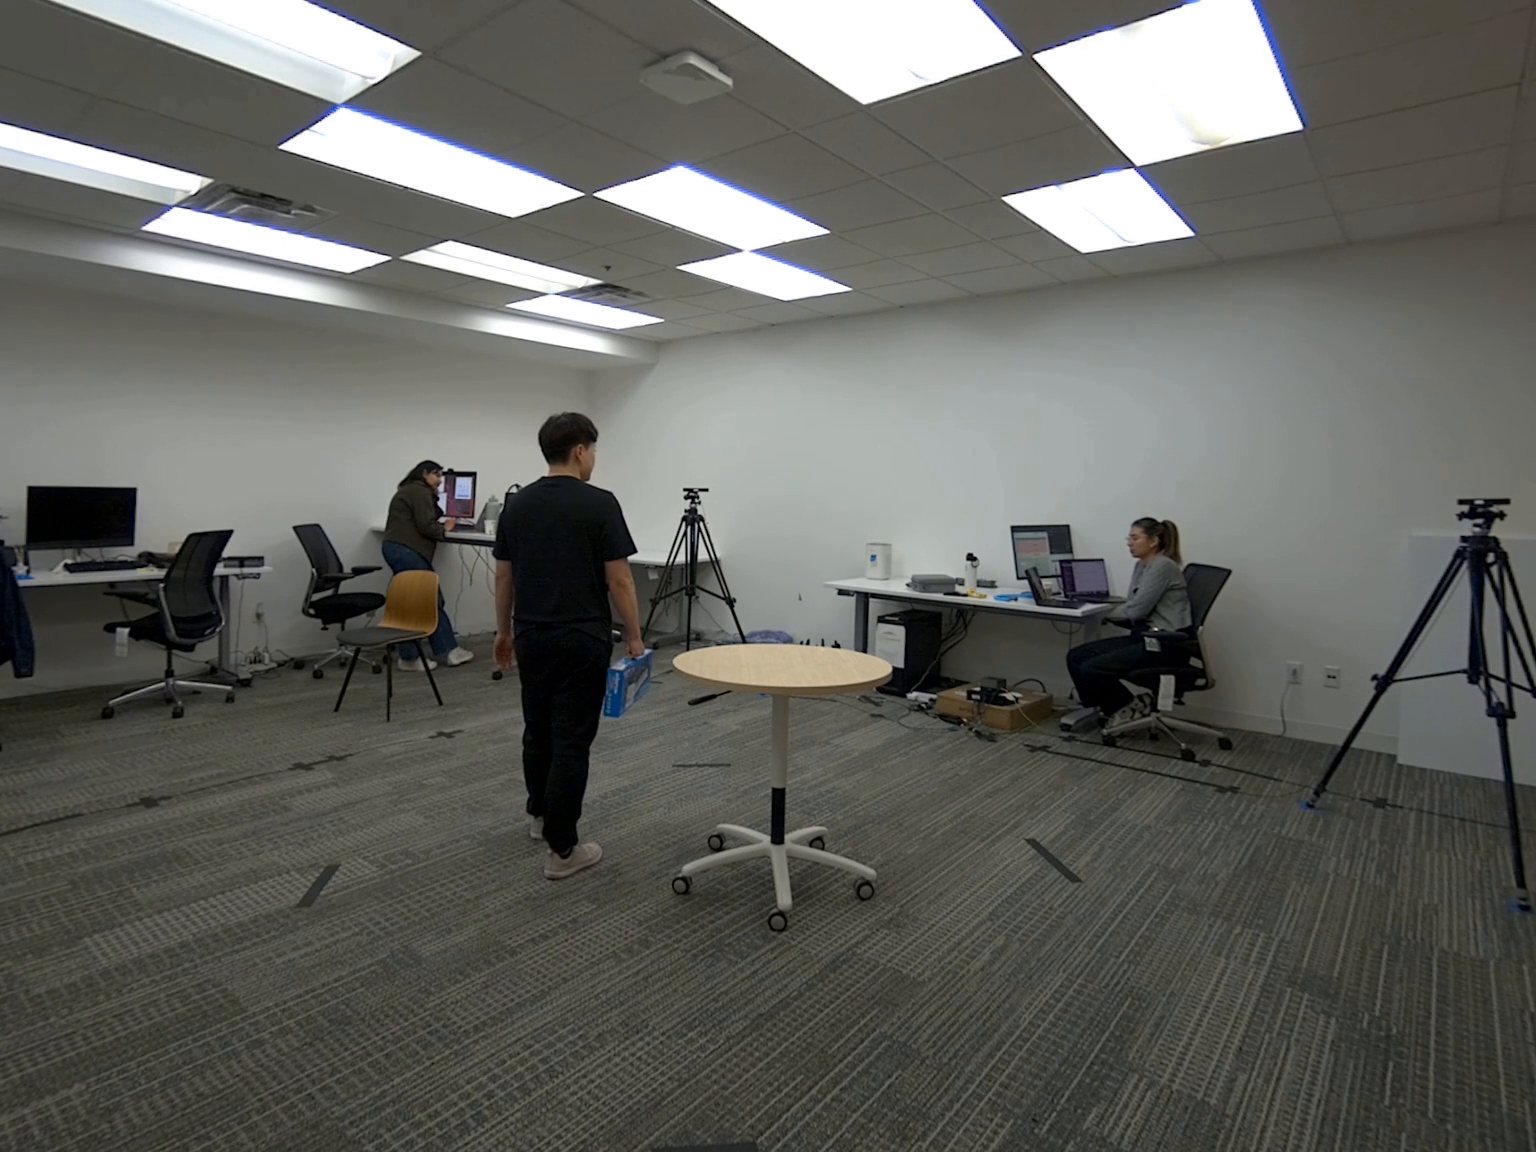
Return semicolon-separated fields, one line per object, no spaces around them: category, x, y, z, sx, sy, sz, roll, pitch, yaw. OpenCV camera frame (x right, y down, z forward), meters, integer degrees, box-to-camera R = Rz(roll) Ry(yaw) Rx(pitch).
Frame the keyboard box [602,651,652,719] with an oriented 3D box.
keyboard box;-0.537;0.394;3.231;0.060;0.175;0.434;6;6;7
